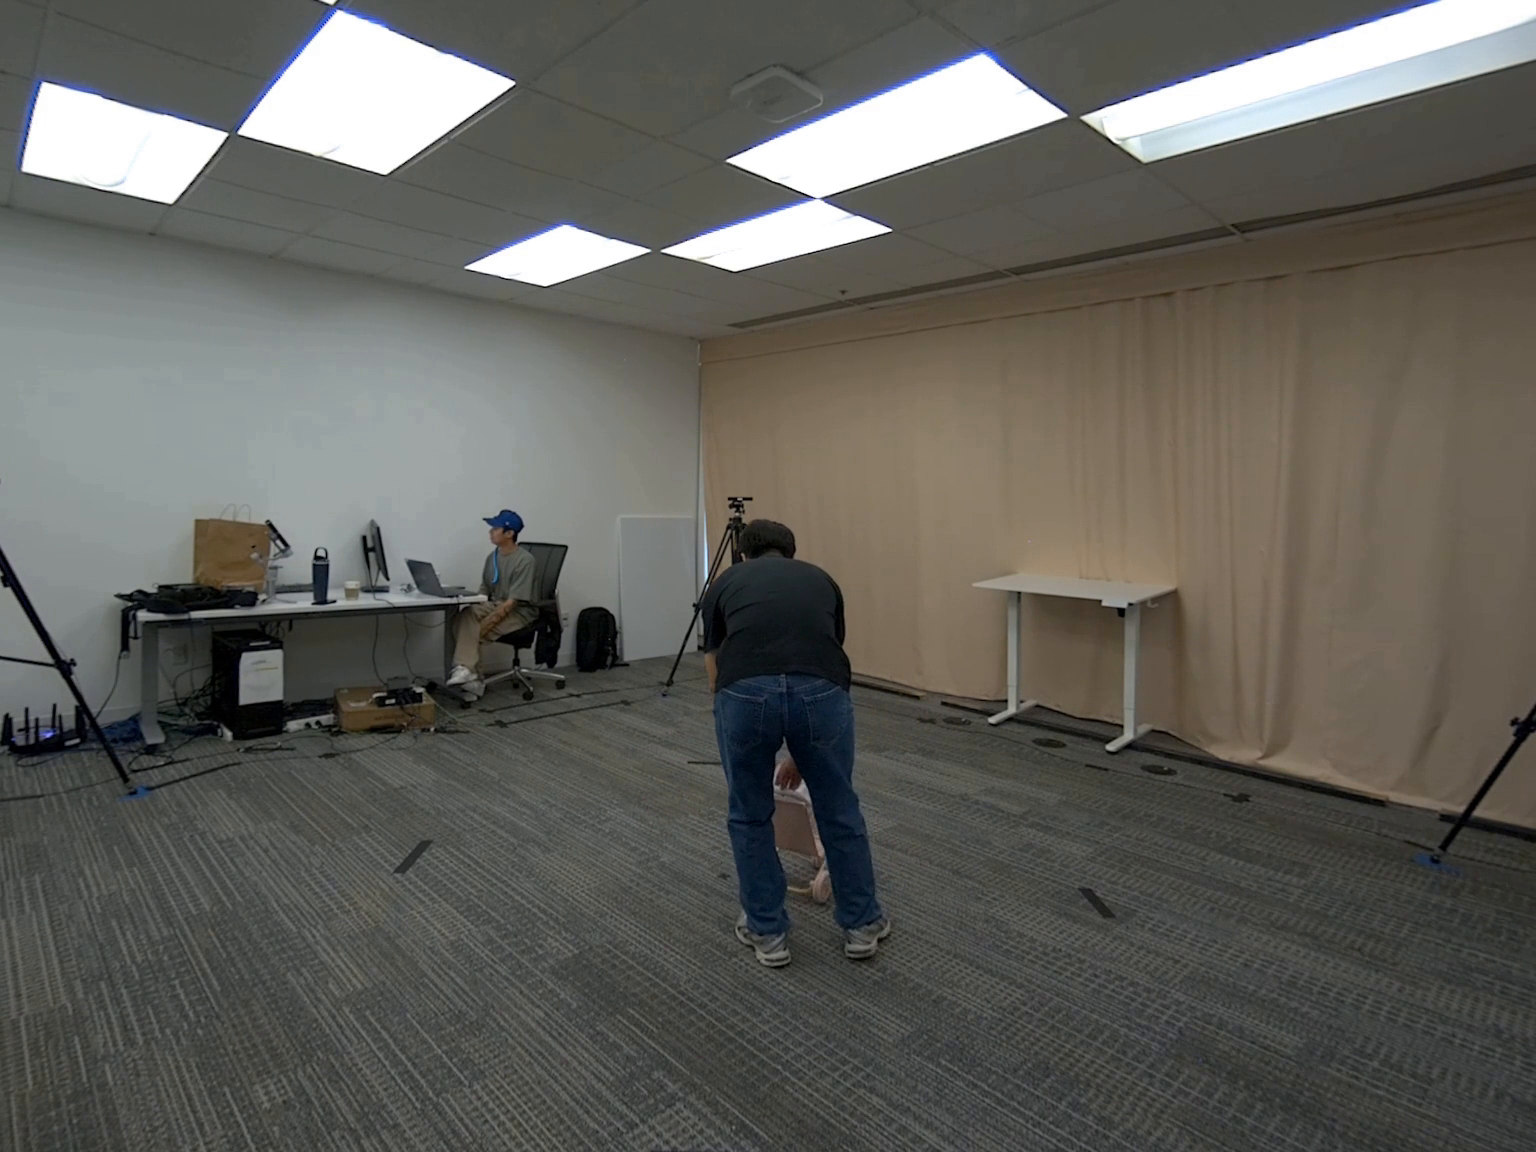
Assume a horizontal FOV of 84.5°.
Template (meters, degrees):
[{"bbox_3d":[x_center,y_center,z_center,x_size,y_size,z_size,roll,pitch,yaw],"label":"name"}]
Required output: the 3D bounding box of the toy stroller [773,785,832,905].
[{"bbox_3d":[0.108,0.902,3.021,0.288,0.528,0.338,4,19,33],"label":"toy stroller"}]
